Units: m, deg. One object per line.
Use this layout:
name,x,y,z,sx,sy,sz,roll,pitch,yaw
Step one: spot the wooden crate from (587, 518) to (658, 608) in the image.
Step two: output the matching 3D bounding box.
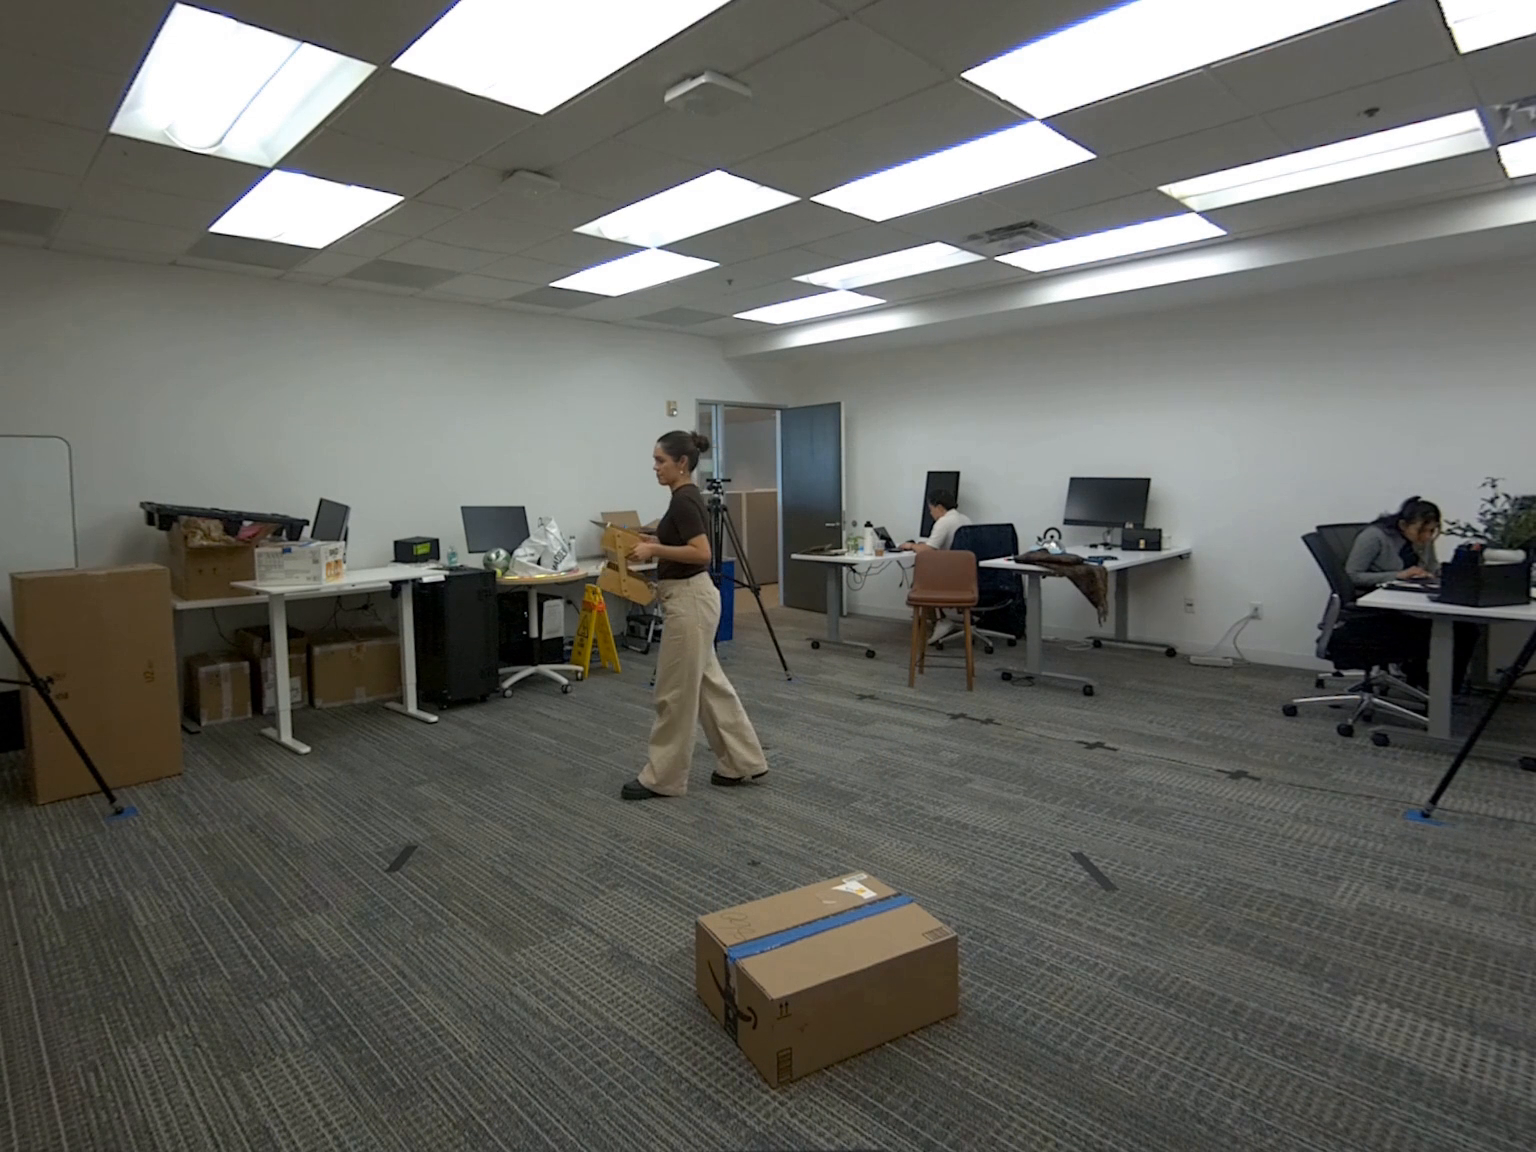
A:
wooden crate,-0.601,-0.065,3.807,0.299,0.273,0.328,21,3,-8
